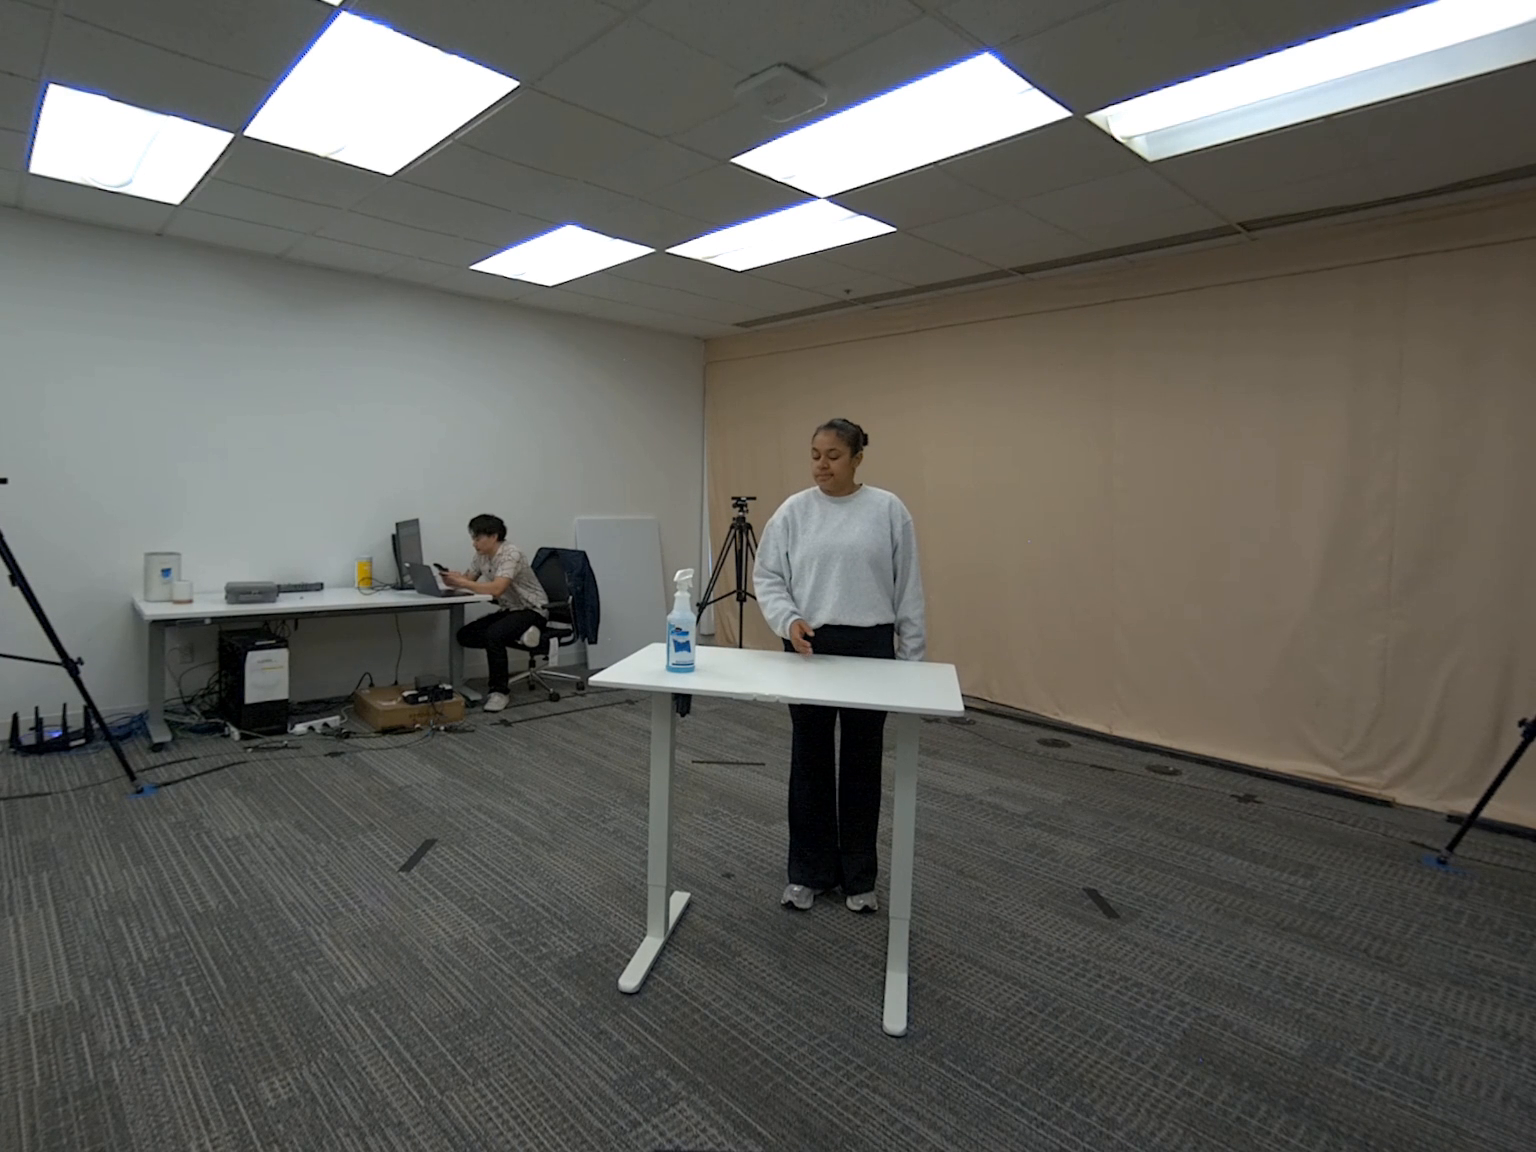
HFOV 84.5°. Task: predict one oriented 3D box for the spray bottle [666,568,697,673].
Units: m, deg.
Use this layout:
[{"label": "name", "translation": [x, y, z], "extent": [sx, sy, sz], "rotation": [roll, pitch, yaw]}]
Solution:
[{"label": "spray bottle", "translation": [-0.255, 0.135, 2.464], "extent": [0.088, 0.297, 0.089], "rotation": [1, 3, -40]}]
